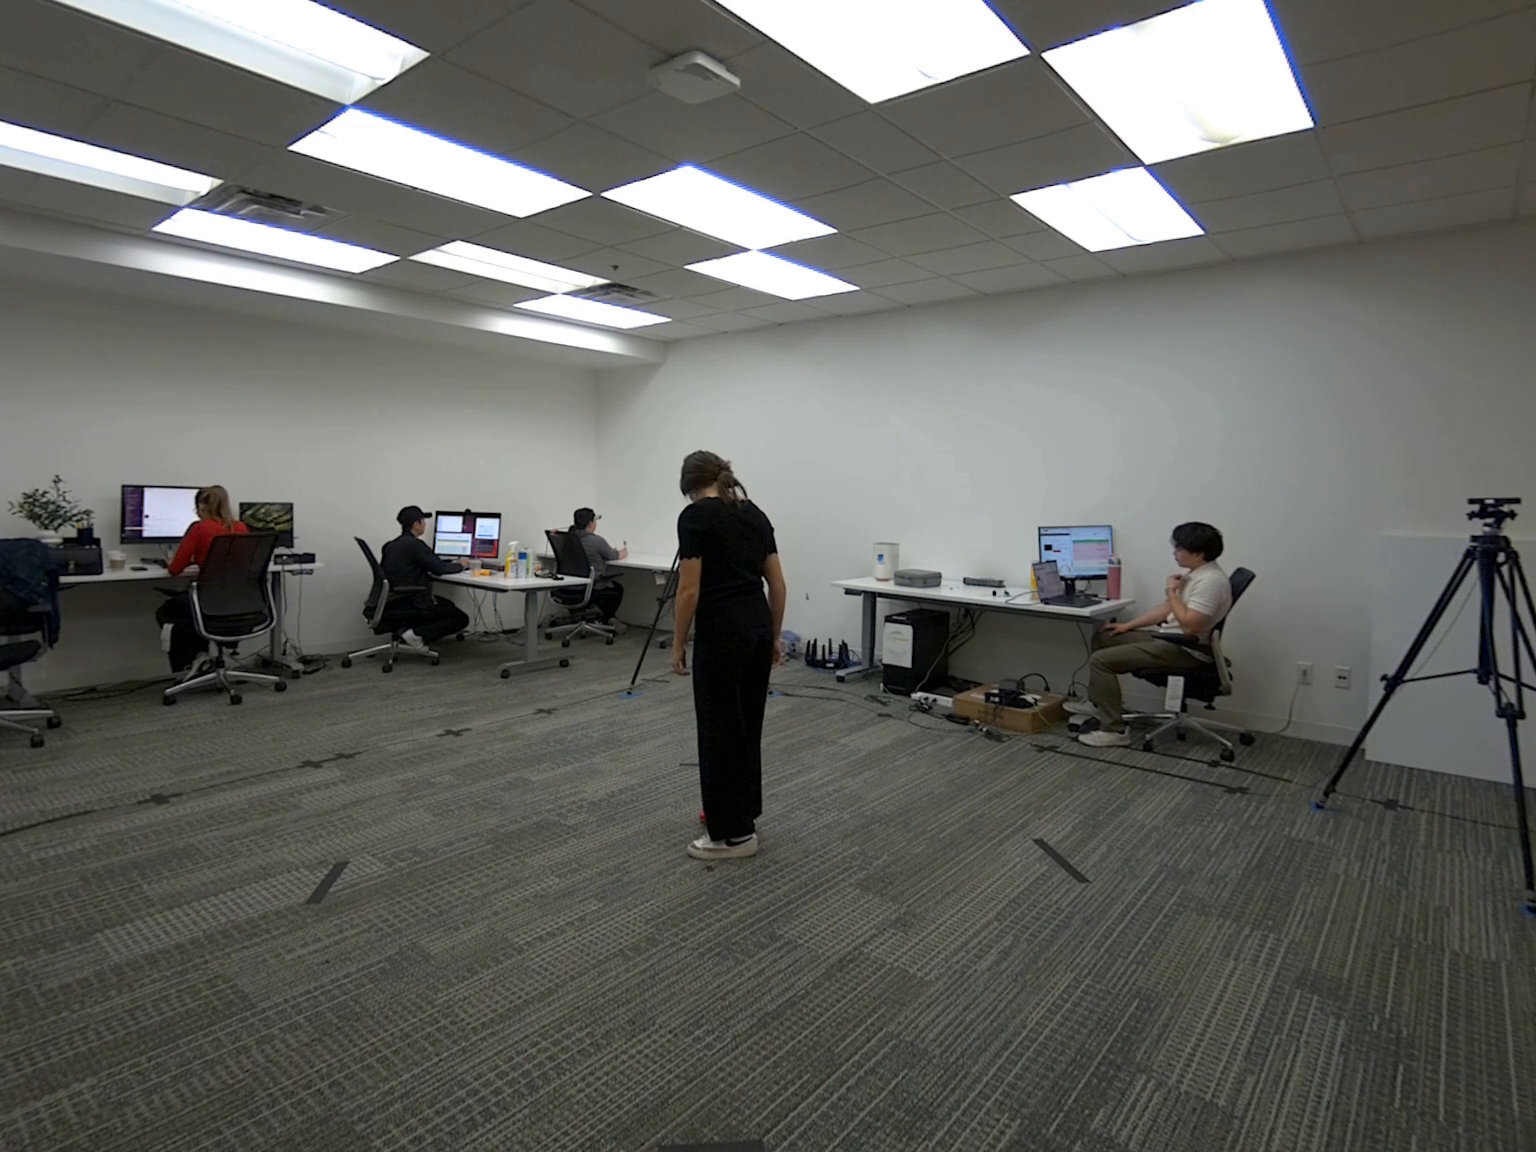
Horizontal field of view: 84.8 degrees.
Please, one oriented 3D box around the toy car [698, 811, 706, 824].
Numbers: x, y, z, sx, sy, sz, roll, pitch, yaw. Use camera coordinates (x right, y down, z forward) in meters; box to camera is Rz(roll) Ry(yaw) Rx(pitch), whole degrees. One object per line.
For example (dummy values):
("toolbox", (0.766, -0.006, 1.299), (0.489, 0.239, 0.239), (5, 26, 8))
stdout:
("toy car", (-0.216, 0.981, 3.576), (0.133, 0.084, 0.248), (3, -6, 18))
